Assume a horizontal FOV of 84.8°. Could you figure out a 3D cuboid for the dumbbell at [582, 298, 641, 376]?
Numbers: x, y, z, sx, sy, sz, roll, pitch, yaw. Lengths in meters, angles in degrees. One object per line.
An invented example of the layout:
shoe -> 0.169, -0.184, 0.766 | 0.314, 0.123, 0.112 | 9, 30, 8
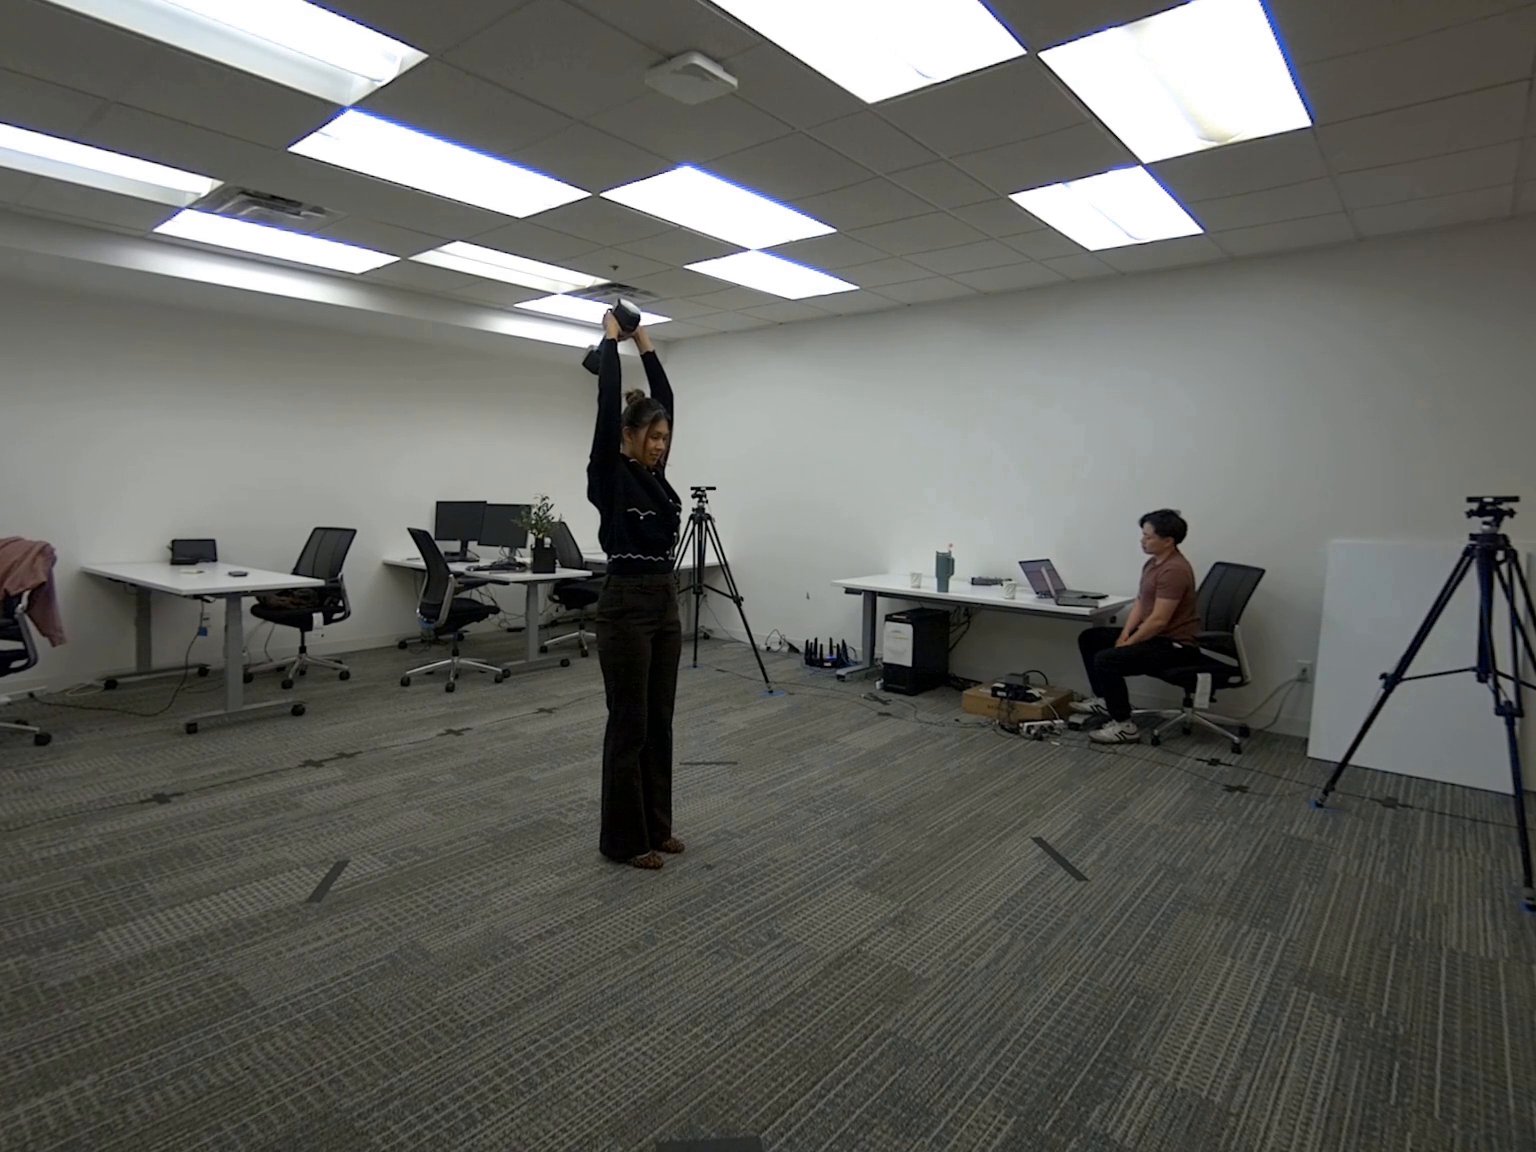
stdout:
dumbbell -> -0.608, -0.905, 3.231 | 0.123, 0.293, 0.108 | 39, 27, 2
